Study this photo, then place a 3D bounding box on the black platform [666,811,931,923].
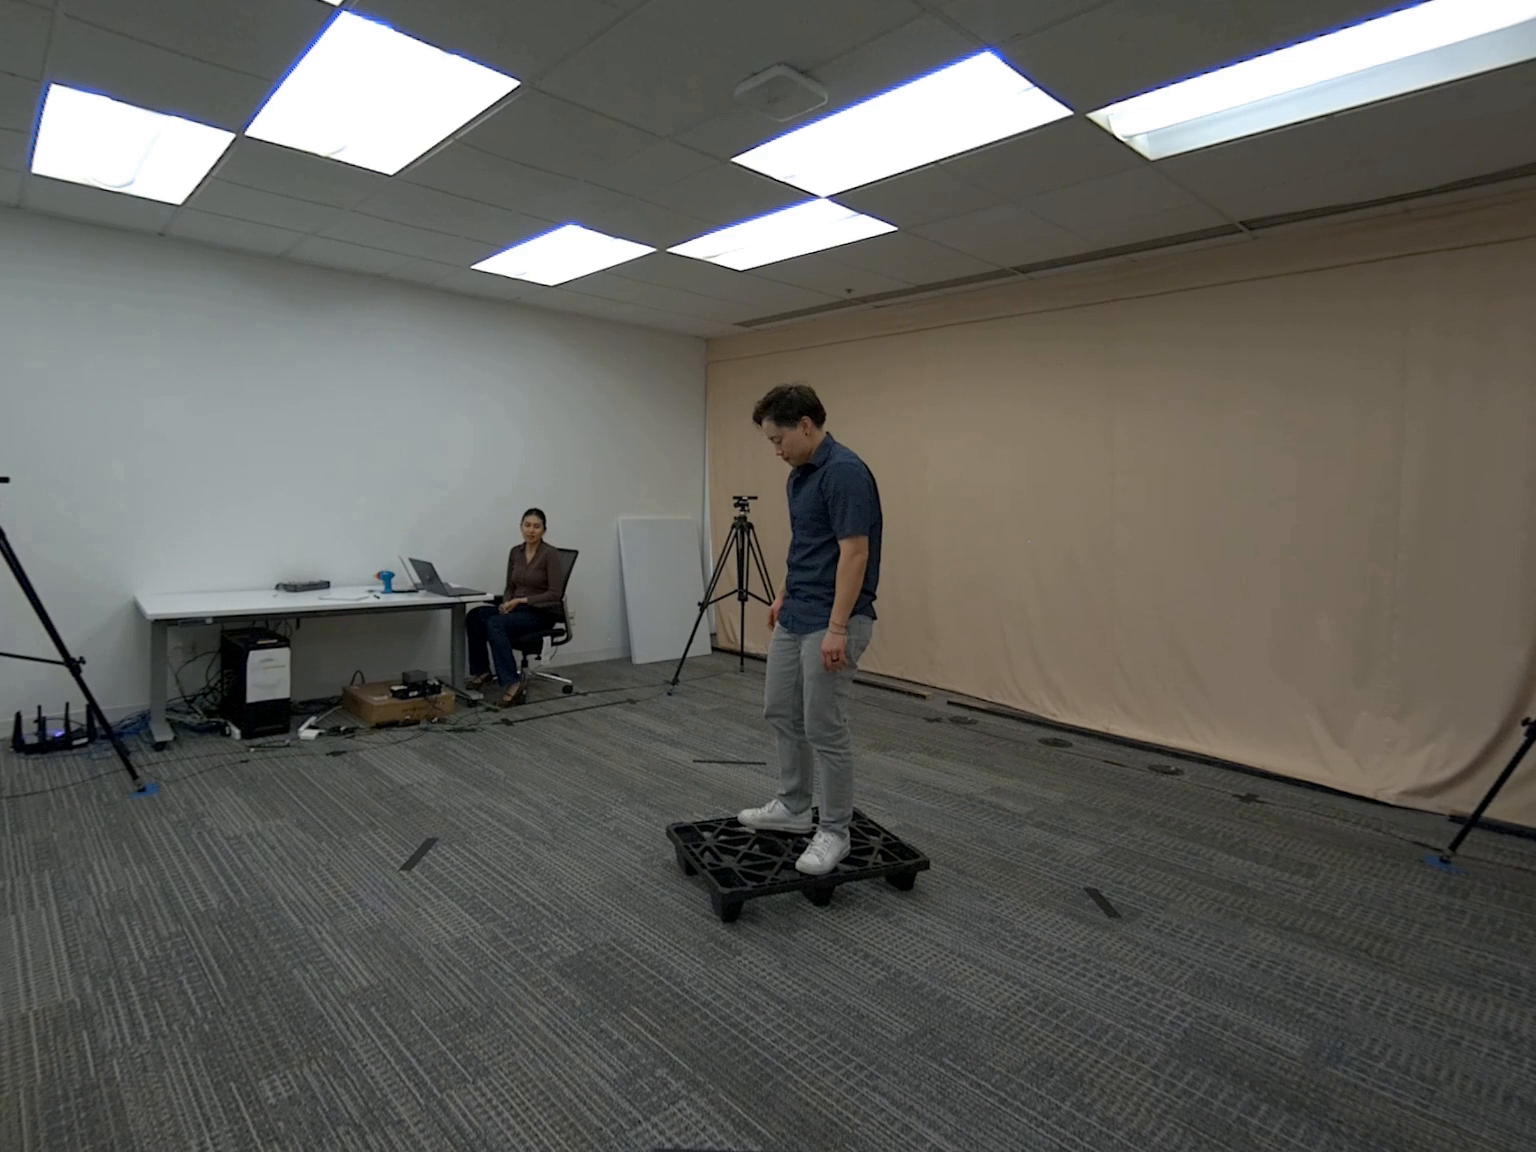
[{"bbox_3d":[0.091,1.042,3.092,0.792,0.143,0.617,-1,6,-23],"label":"black platform"}]
